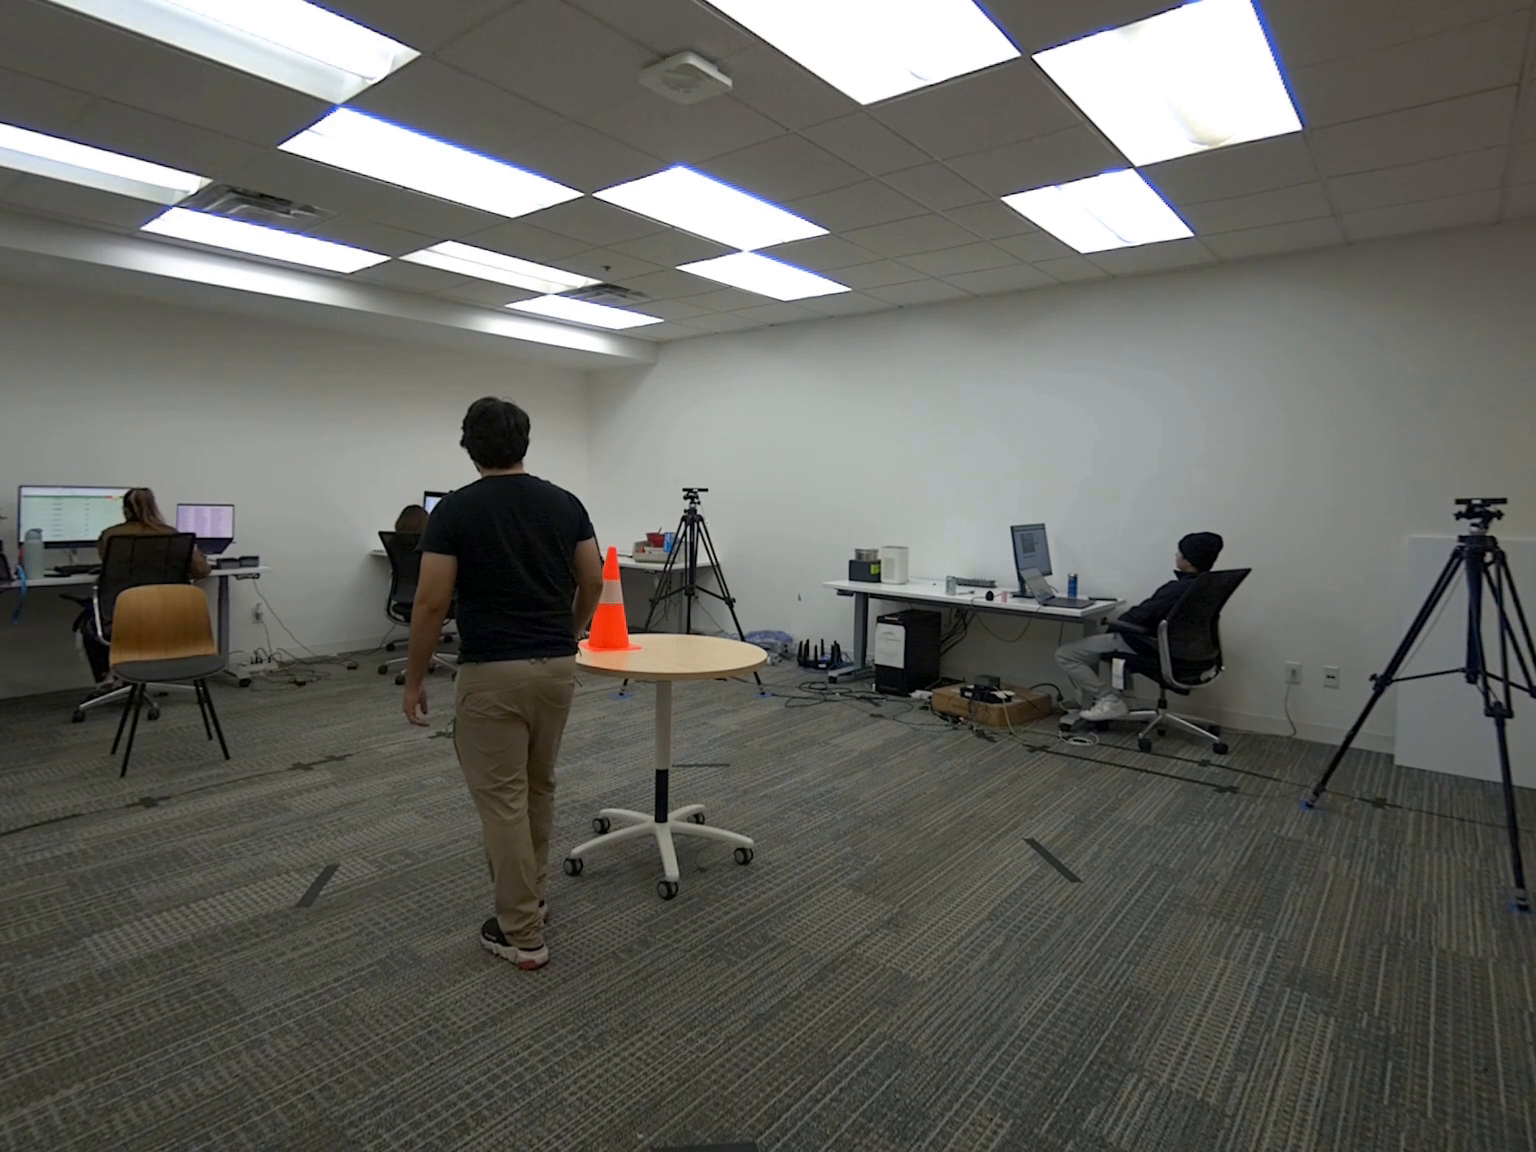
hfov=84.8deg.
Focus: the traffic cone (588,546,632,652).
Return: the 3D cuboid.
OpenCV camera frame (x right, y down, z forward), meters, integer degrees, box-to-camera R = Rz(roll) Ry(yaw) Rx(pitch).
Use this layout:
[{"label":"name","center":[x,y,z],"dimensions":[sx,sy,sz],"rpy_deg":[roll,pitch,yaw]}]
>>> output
[{"label":"traffic cone","center":[-0.613,0.078,3.224],"dimensions":[0.197,0.382,0.212],"rpy_deg":[-1,6,-40]}]
